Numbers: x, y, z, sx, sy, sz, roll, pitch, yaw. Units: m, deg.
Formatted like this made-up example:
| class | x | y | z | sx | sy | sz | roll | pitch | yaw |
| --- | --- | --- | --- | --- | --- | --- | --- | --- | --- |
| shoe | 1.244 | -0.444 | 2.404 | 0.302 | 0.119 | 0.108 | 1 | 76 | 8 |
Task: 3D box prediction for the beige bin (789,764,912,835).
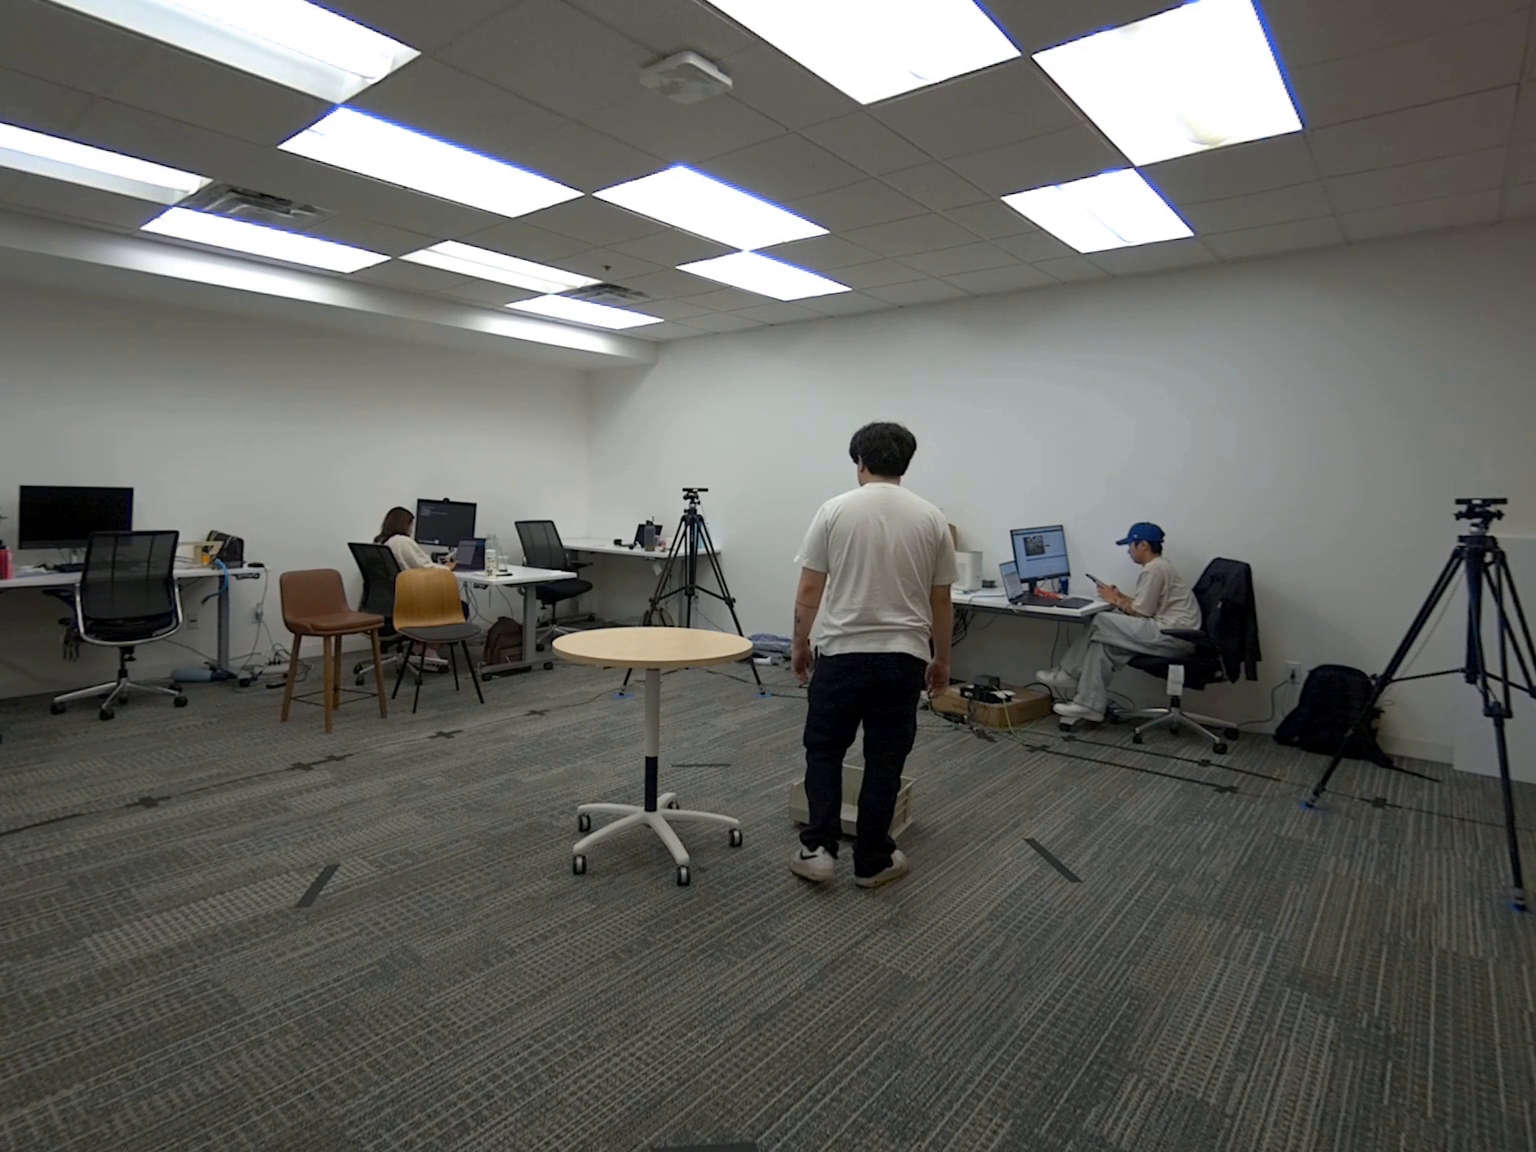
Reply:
| class | x | y | z | sx | sy | sz | roll | pitch | yaw |
| --- | --- | --- | --- | --- | --- | --- | --- | --- | --- |
| beige bin | 0.346 | 0.945 | 3.563 | 0.435 | 0.188 | 0.368 | 4 | 5 | 30 |
